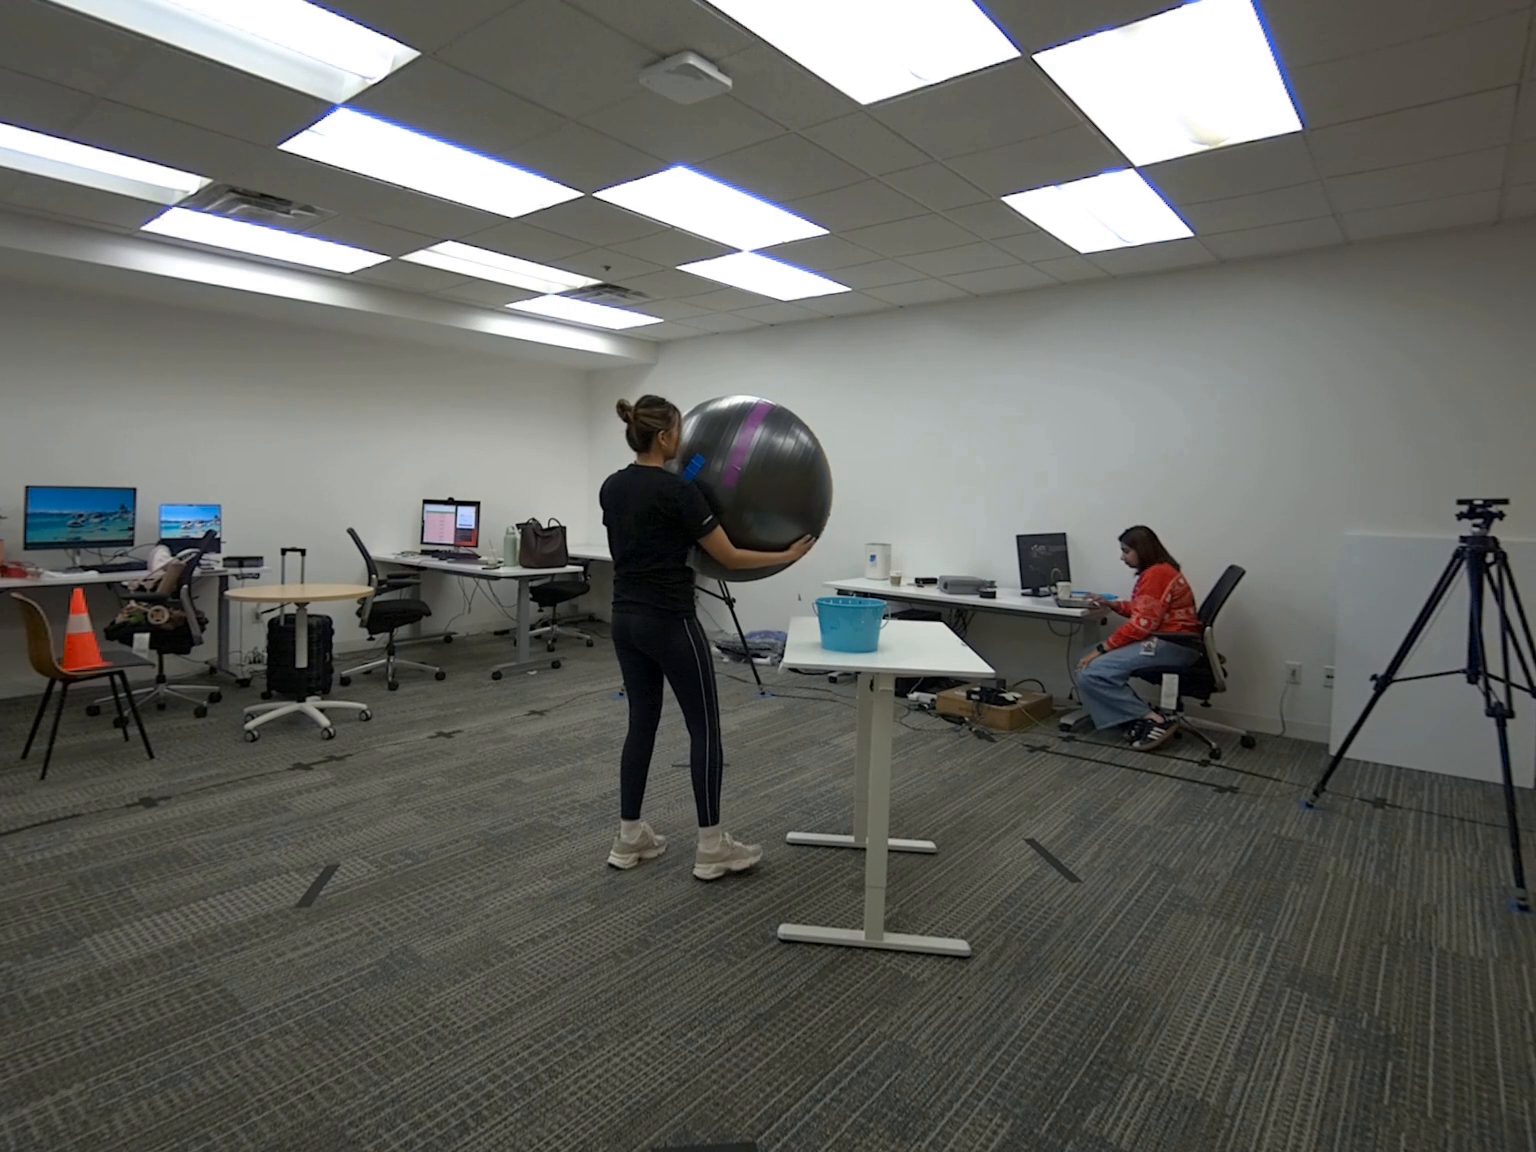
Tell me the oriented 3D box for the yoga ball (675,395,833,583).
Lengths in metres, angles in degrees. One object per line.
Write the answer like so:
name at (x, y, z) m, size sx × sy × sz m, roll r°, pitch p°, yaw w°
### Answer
yoga ball at (-0.116, -0.356, 3.467) m, size 0.757 × 0.756 × 0.762 m, roll 1°, pitch 4°, yaw -2°
